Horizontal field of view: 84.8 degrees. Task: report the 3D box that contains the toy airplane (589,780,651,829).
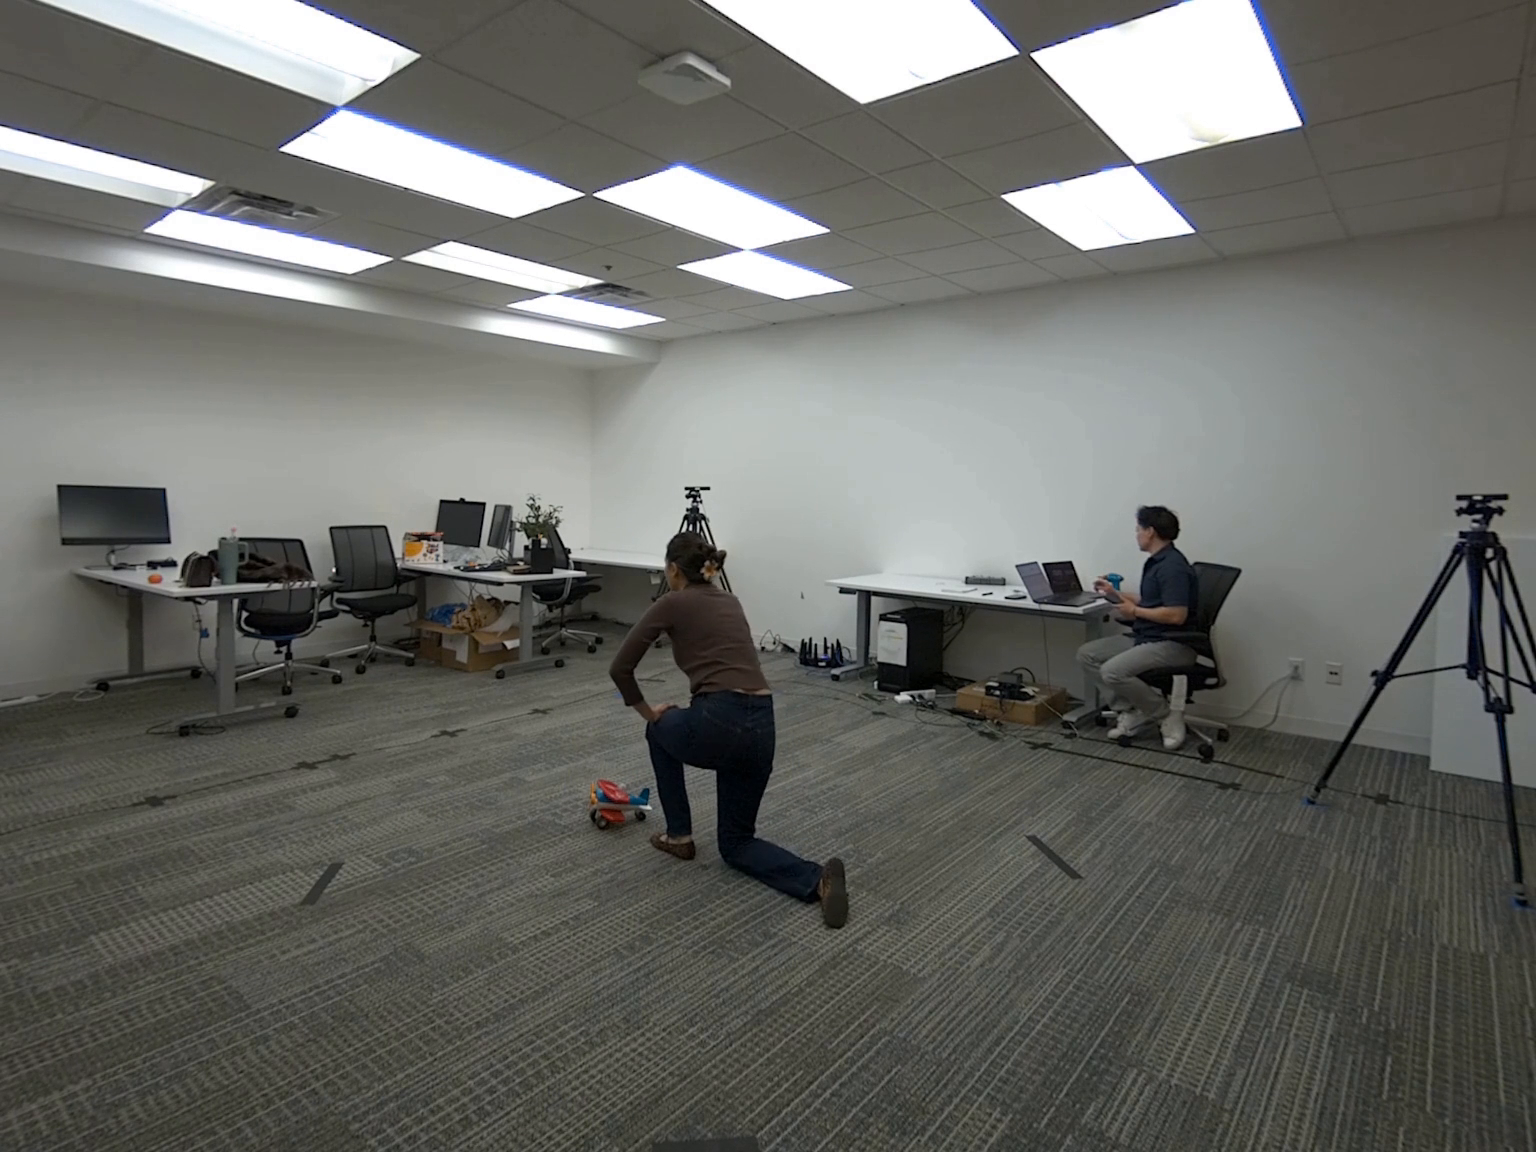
[{"bbox_3d":[-0.637,0.941,3.536,0.259,0.156,0.252,3,7,36],"label":"toy airplane"}]
